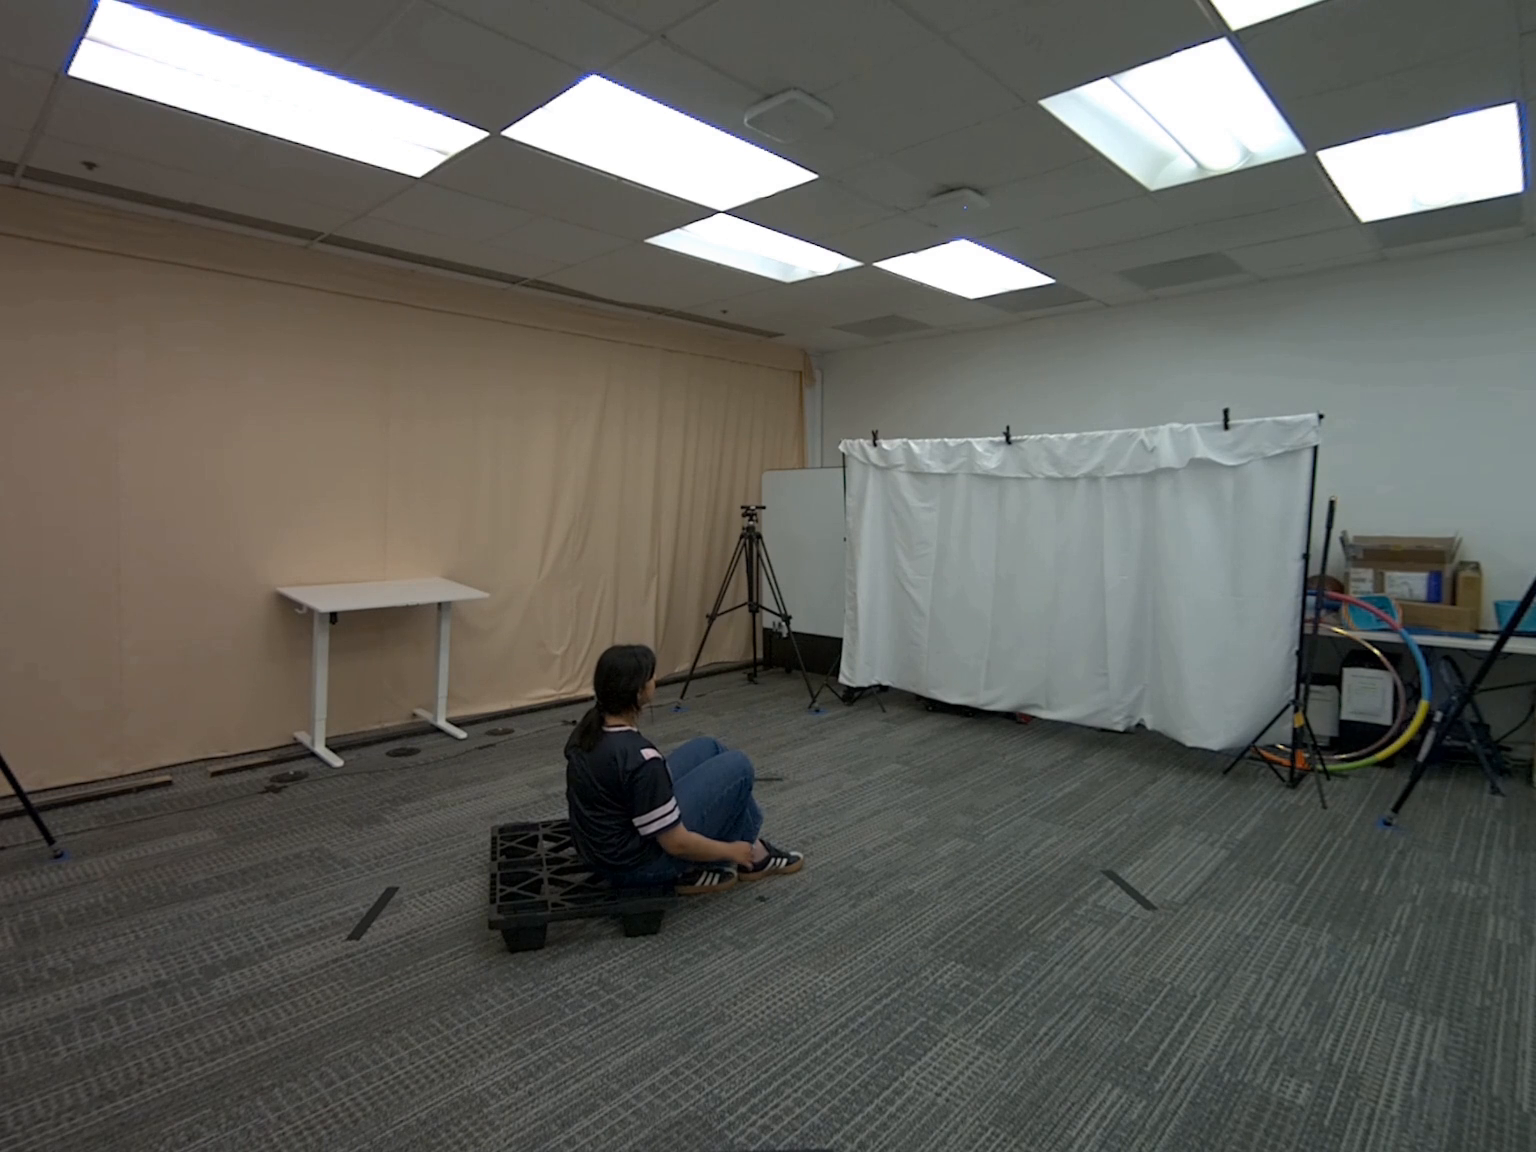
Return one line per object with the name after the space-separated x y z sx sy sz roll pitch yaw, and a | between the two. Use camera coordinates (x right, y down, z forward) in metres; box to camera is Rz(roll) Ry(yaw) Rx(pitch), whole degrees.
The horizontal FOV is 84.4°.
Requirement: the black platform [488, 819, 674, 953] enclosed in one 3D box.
-0.697 1.079 3.037 0.596 0.143 0.821 -2 6 -16 | black platform
